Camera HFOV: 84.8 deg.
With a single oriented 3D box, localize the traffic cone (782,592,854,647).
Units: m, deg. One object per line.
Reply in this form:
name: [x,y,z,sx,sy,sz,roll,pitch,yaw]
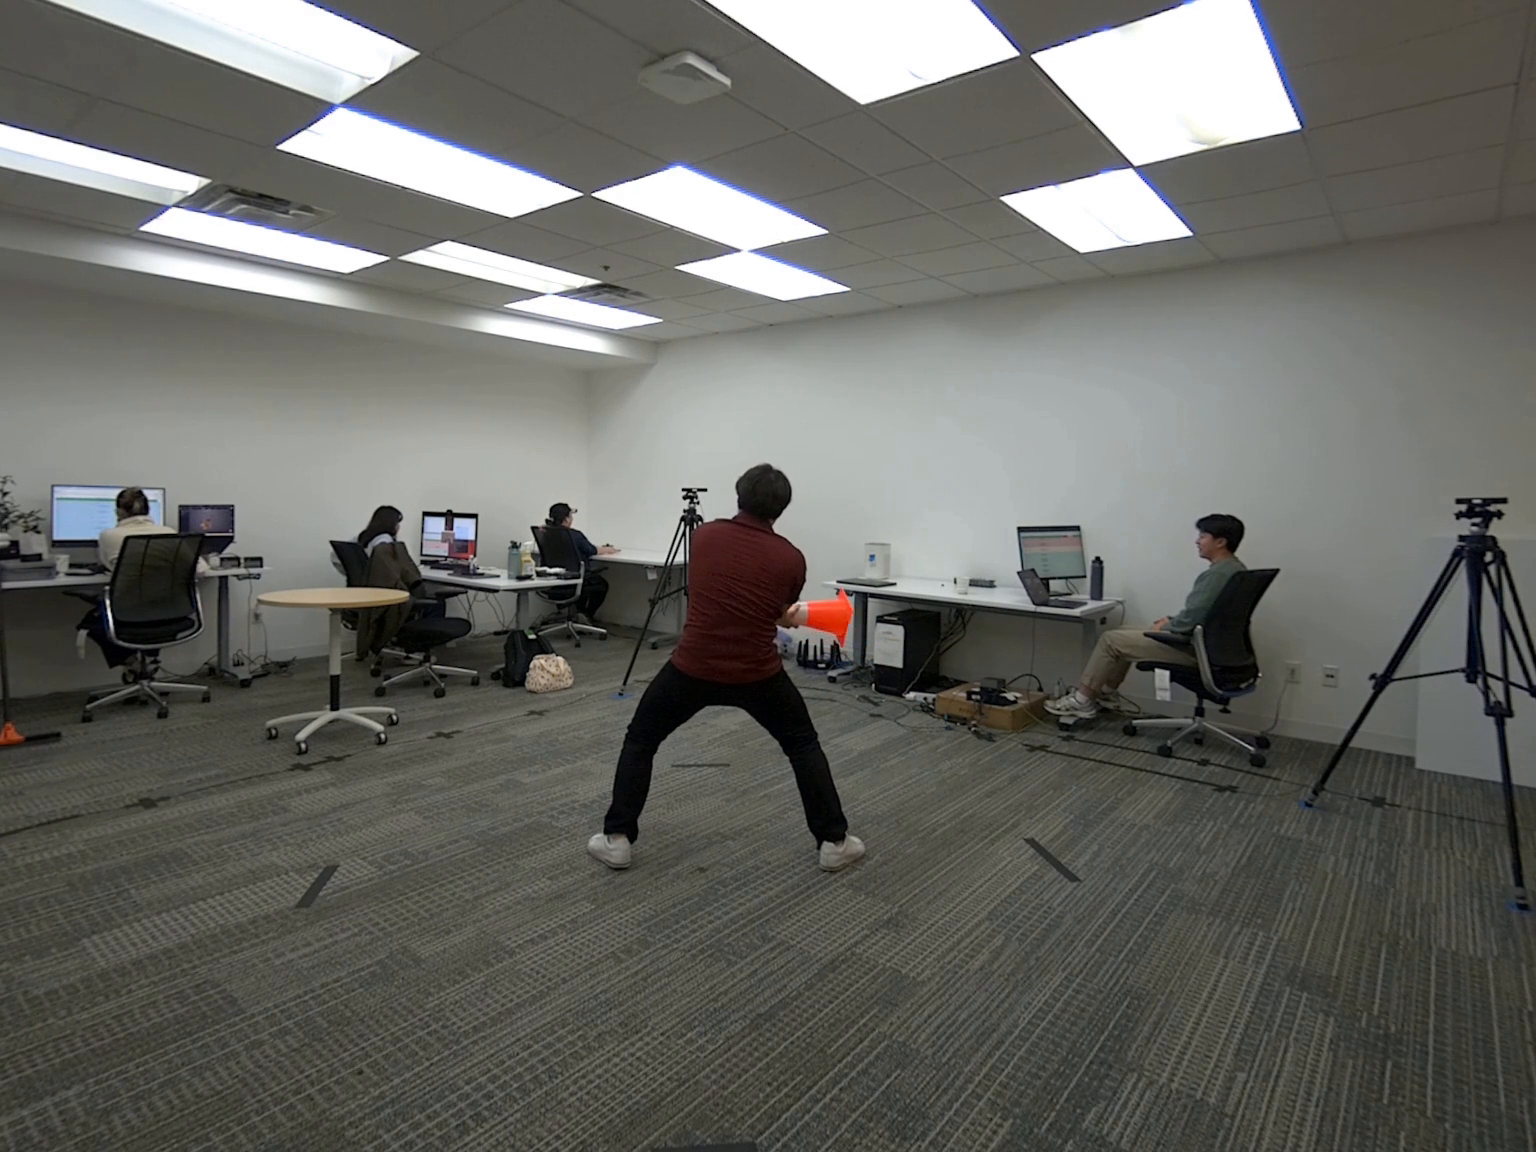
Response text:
traffic cone: [0.126,0.157,3.649,0.379,0.201,0.209,6,30,-10]
